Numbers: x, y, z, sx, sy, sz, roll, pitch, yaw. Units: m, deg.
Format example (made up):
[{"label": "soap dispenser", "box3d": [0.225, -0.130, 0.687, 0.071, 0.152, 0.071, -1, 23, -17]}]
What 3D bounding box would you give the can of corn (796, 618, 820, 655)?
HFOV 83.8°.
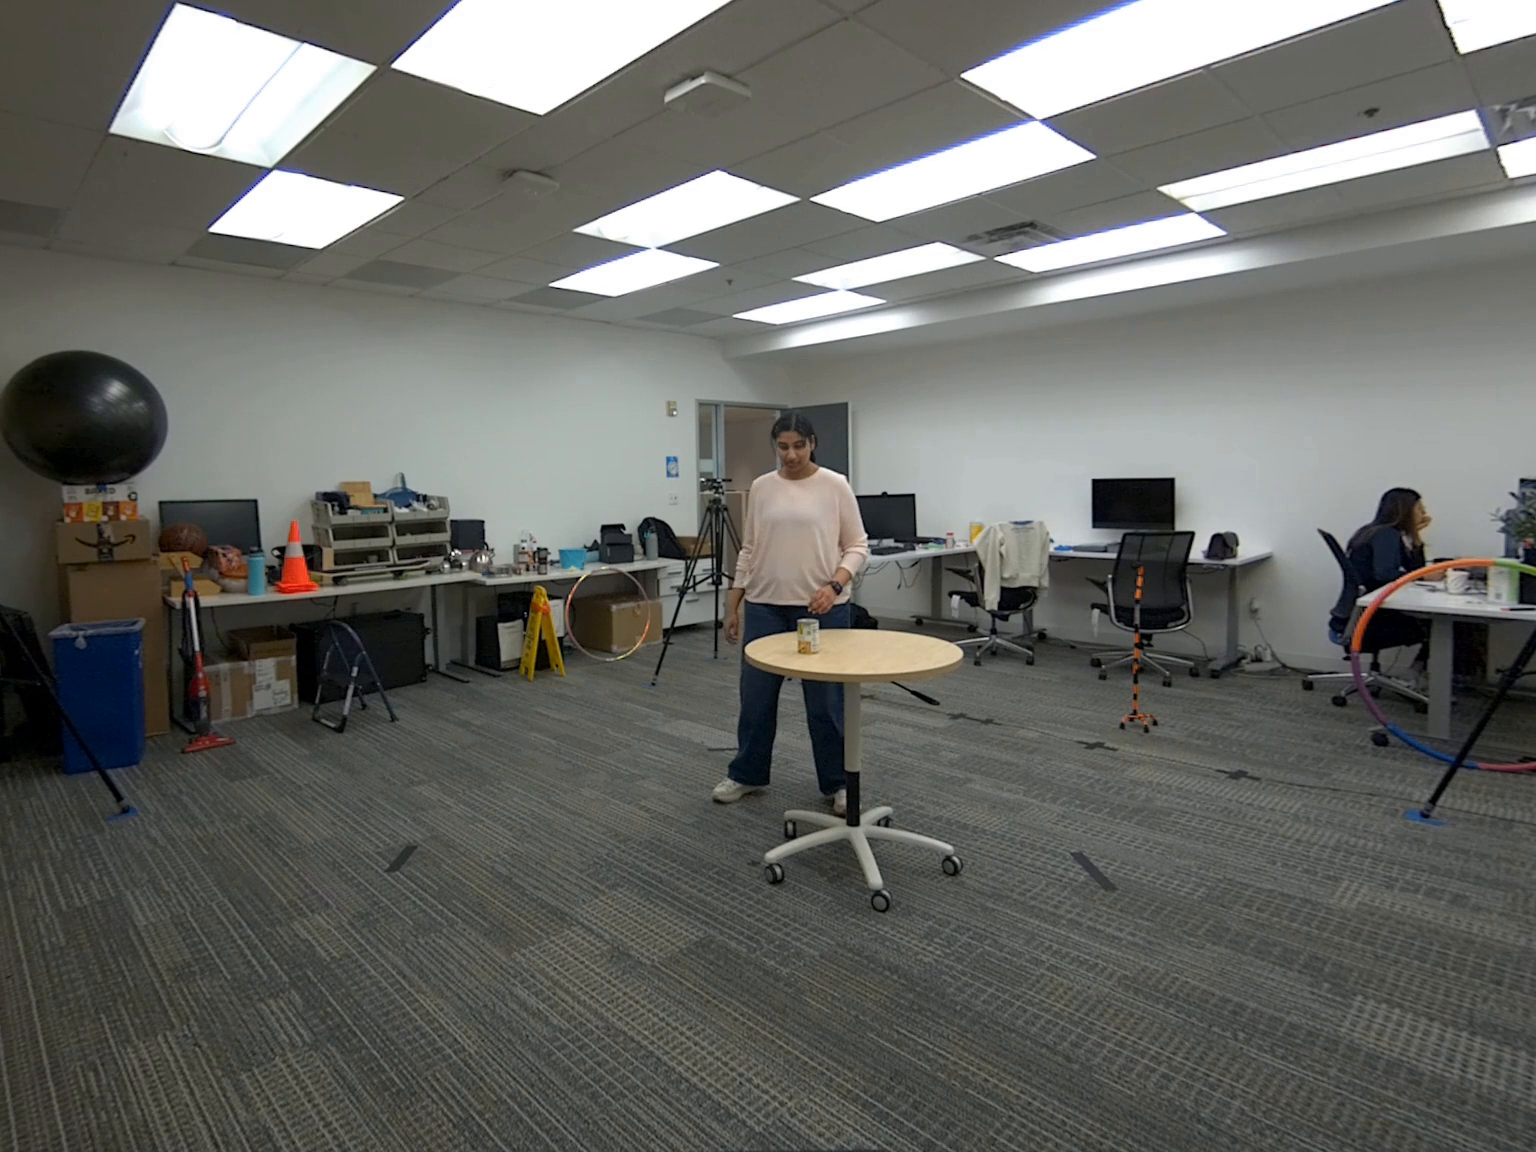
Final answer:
[{"label": "can of corn", "box3d": [0.144, 0.215, 2.997, 0.074, 0.110, 0.074, 1, 5, -2]}]
